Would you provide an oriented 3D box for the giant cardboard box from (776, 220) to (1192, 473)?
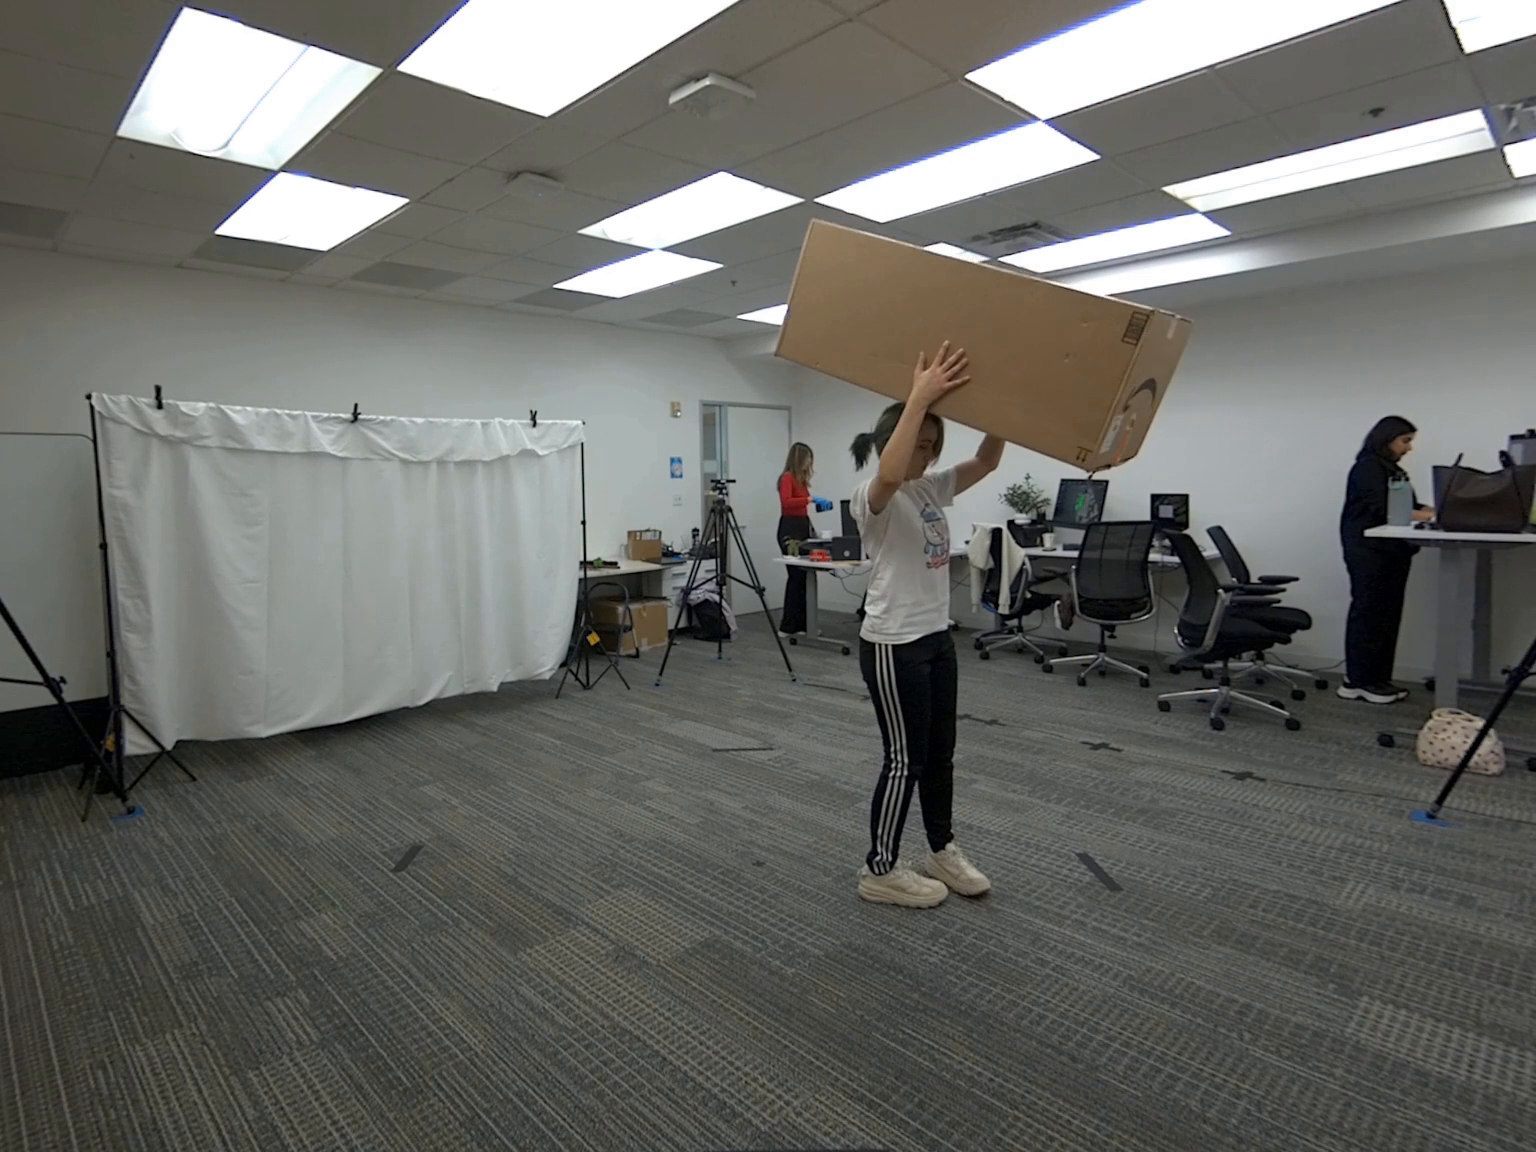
[{"bbox_3d":[0.632,-0.713,2.609,1.061,0.441,0.572,29,24,29],"label":"giant cardboard box"}]
